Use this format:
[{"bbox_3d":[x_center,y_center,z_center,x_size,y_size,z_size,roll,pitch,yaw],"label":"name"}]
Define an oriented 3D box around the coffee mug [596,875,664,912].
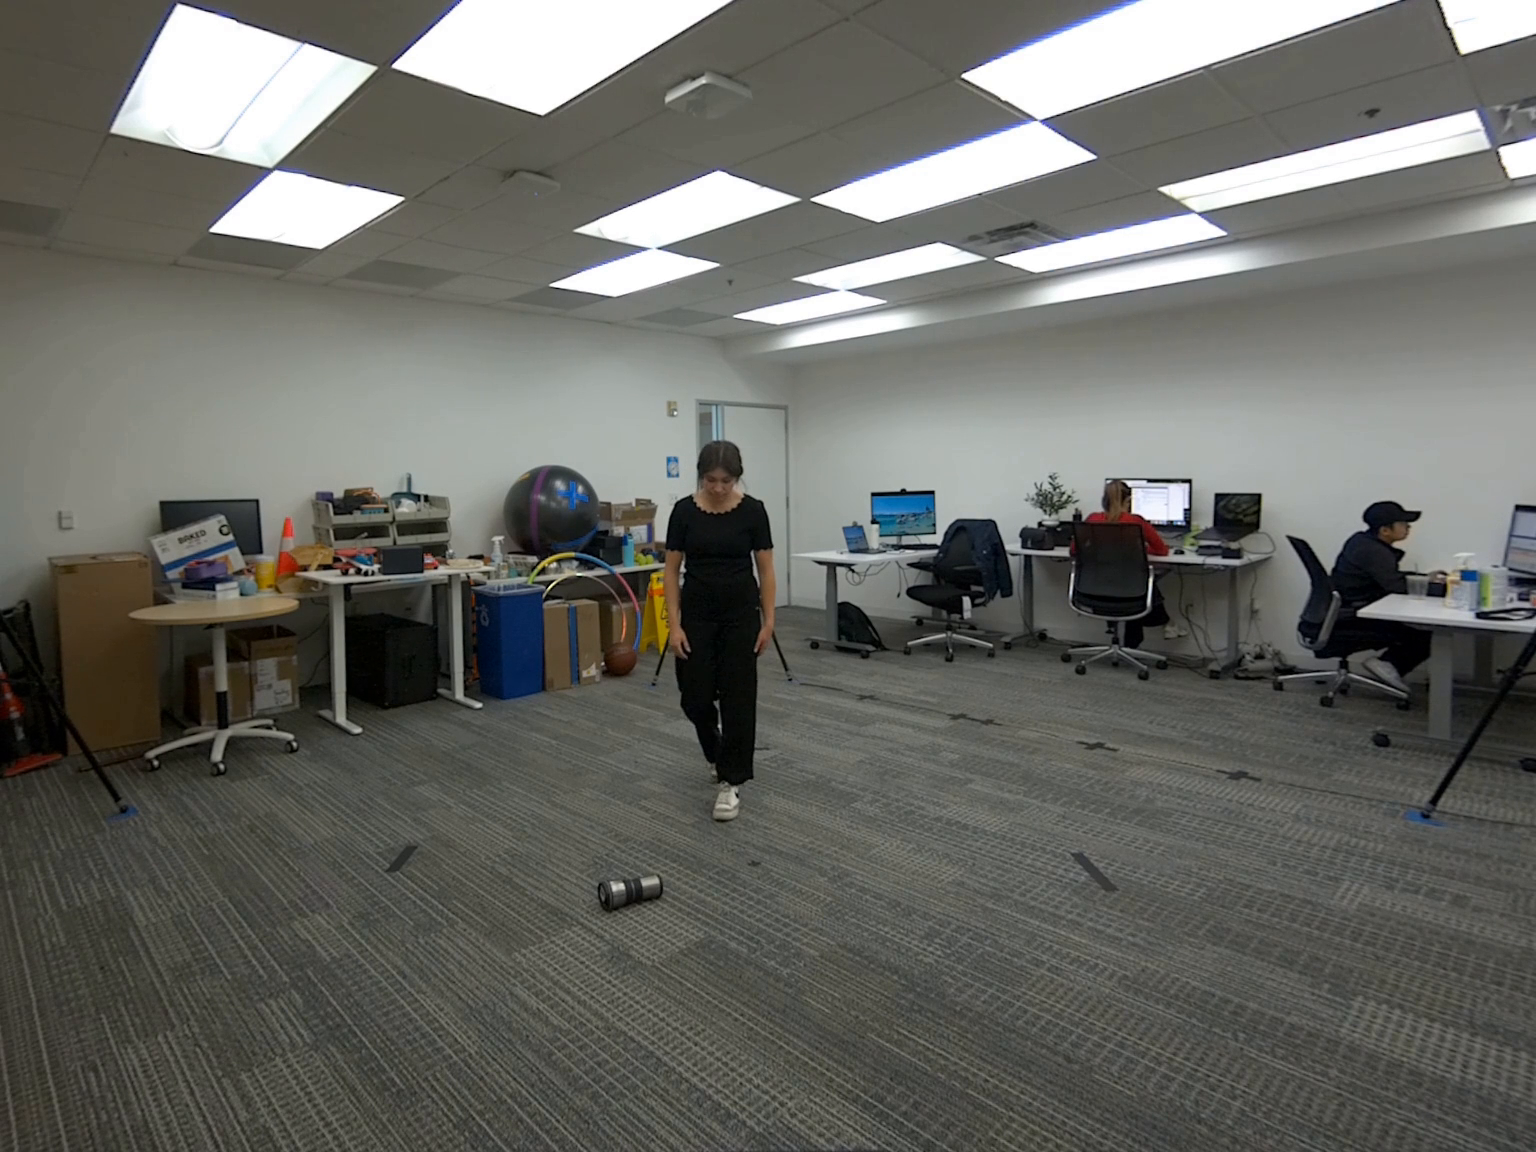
[{"bbox_3d":[-0.459,1.035,2.848,0.198,0.087,0.126,-3,18,-29],"label":"coffee mug"}]
